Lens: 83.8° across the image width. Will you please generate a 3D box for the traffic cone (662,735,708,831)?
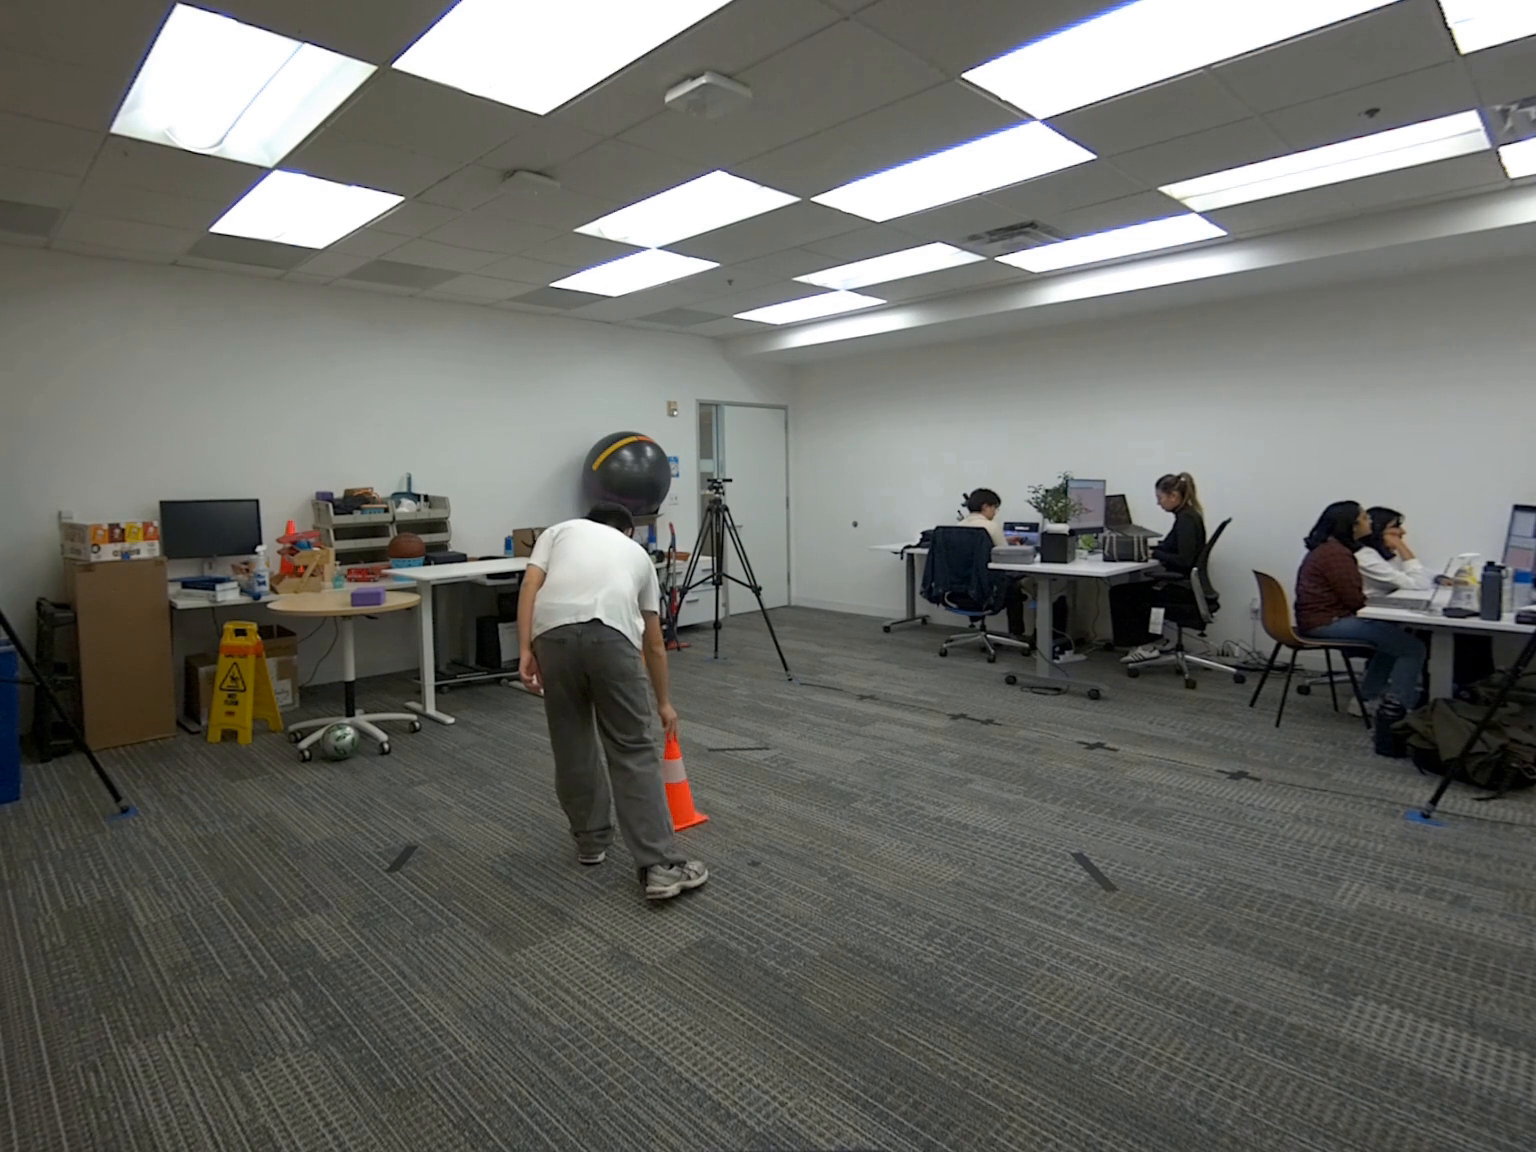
[{"bbox_3d":[-0.384,0.815,3.512,0.198,0.382,0.211,-5,5,-39],"label":"traffic cone"}]
